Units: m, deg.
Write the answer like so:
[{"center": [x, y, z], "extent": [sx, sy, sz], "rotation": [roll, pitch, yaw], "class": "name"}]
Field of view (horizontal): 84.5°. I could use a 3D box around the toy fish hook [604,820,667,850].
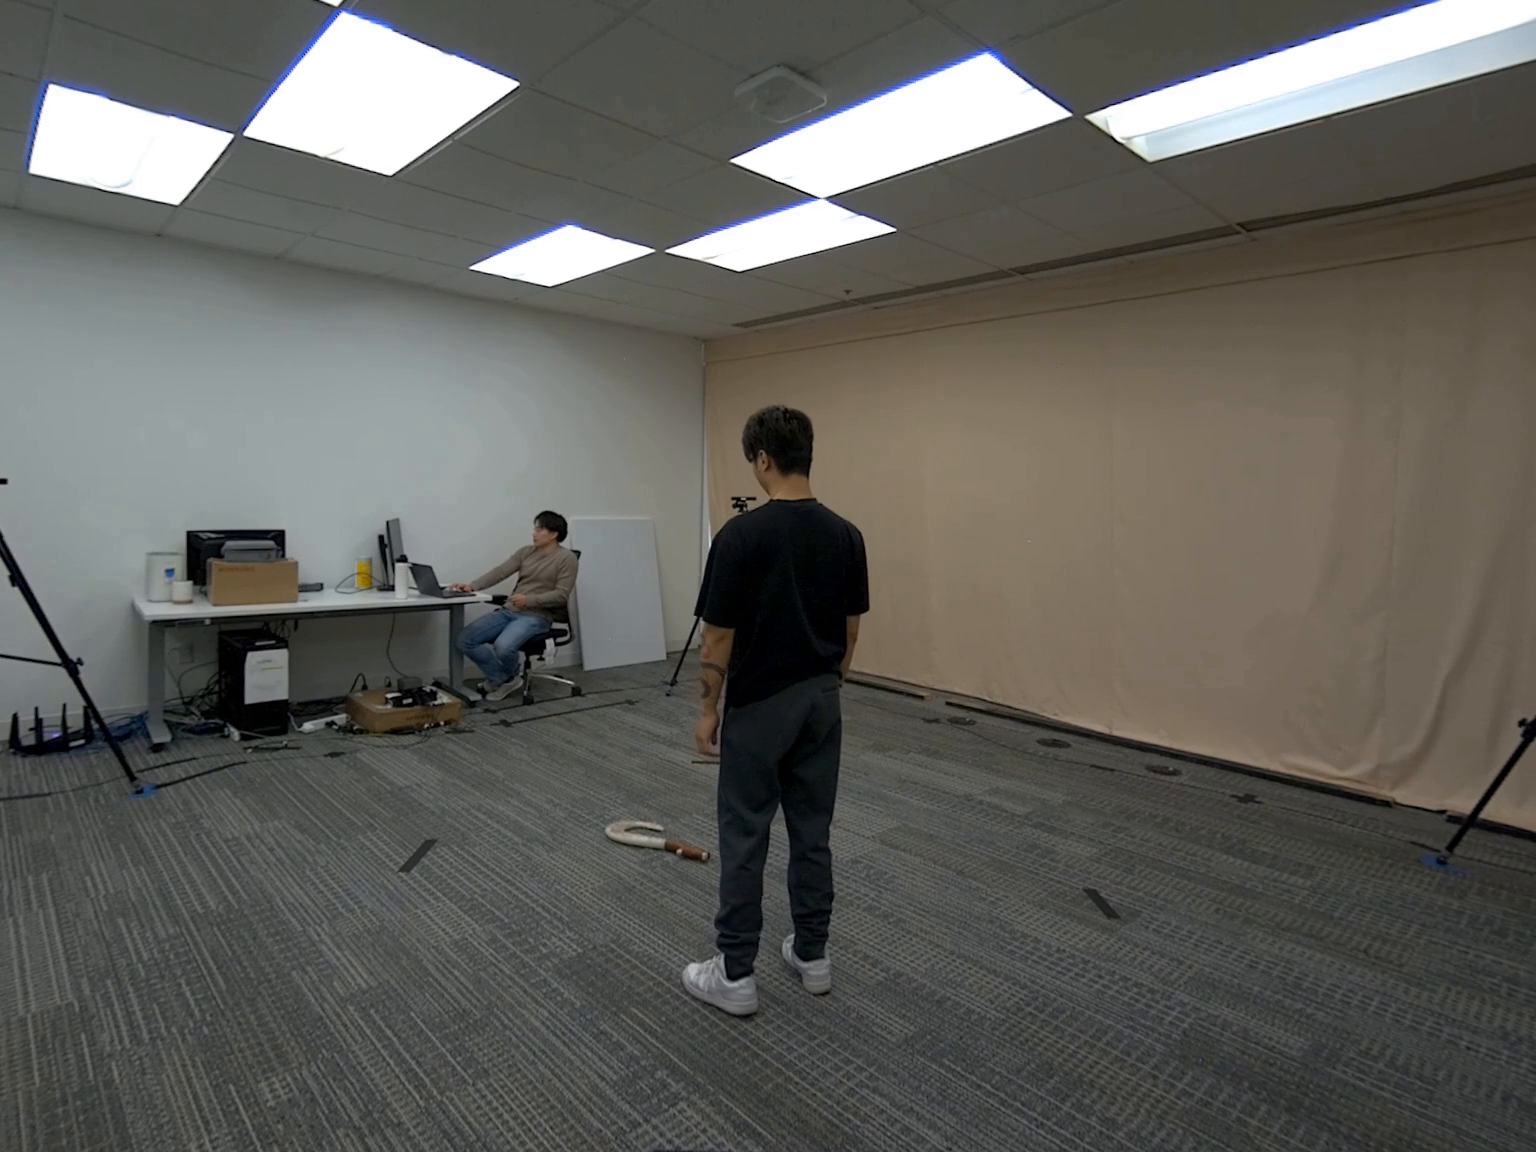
[{"center": [-0.429, 1.053, 3.384], "extent": [0.518, 0.048, 0.220], "rotation": [5, 7, 31], "class": "toy fish hook"}]
